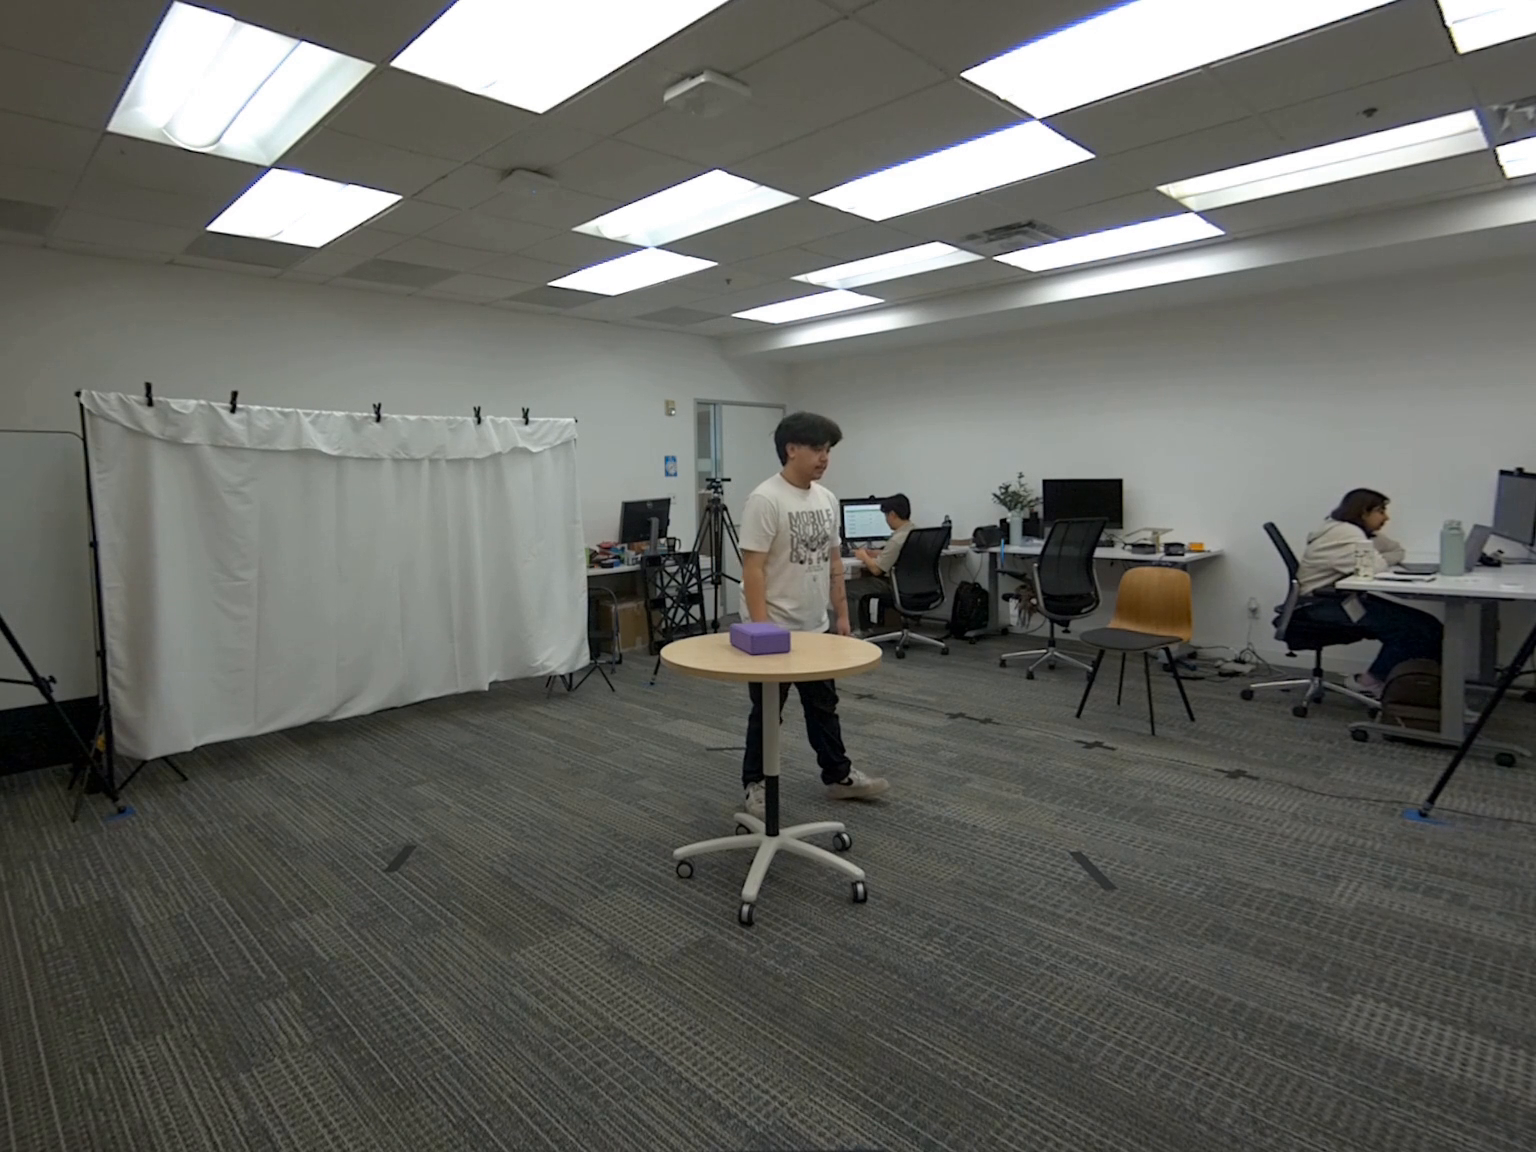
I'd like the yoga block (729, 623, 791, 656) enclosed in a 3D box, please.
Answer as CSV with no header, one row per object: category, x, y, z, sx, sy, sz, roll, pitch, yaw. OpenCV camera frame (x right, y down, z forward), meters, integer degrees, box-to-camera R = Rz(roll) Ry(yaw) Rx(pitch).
yoga block,-0.030,0.220,2.993,0.146,0.076,0.234,-2,6,-19
